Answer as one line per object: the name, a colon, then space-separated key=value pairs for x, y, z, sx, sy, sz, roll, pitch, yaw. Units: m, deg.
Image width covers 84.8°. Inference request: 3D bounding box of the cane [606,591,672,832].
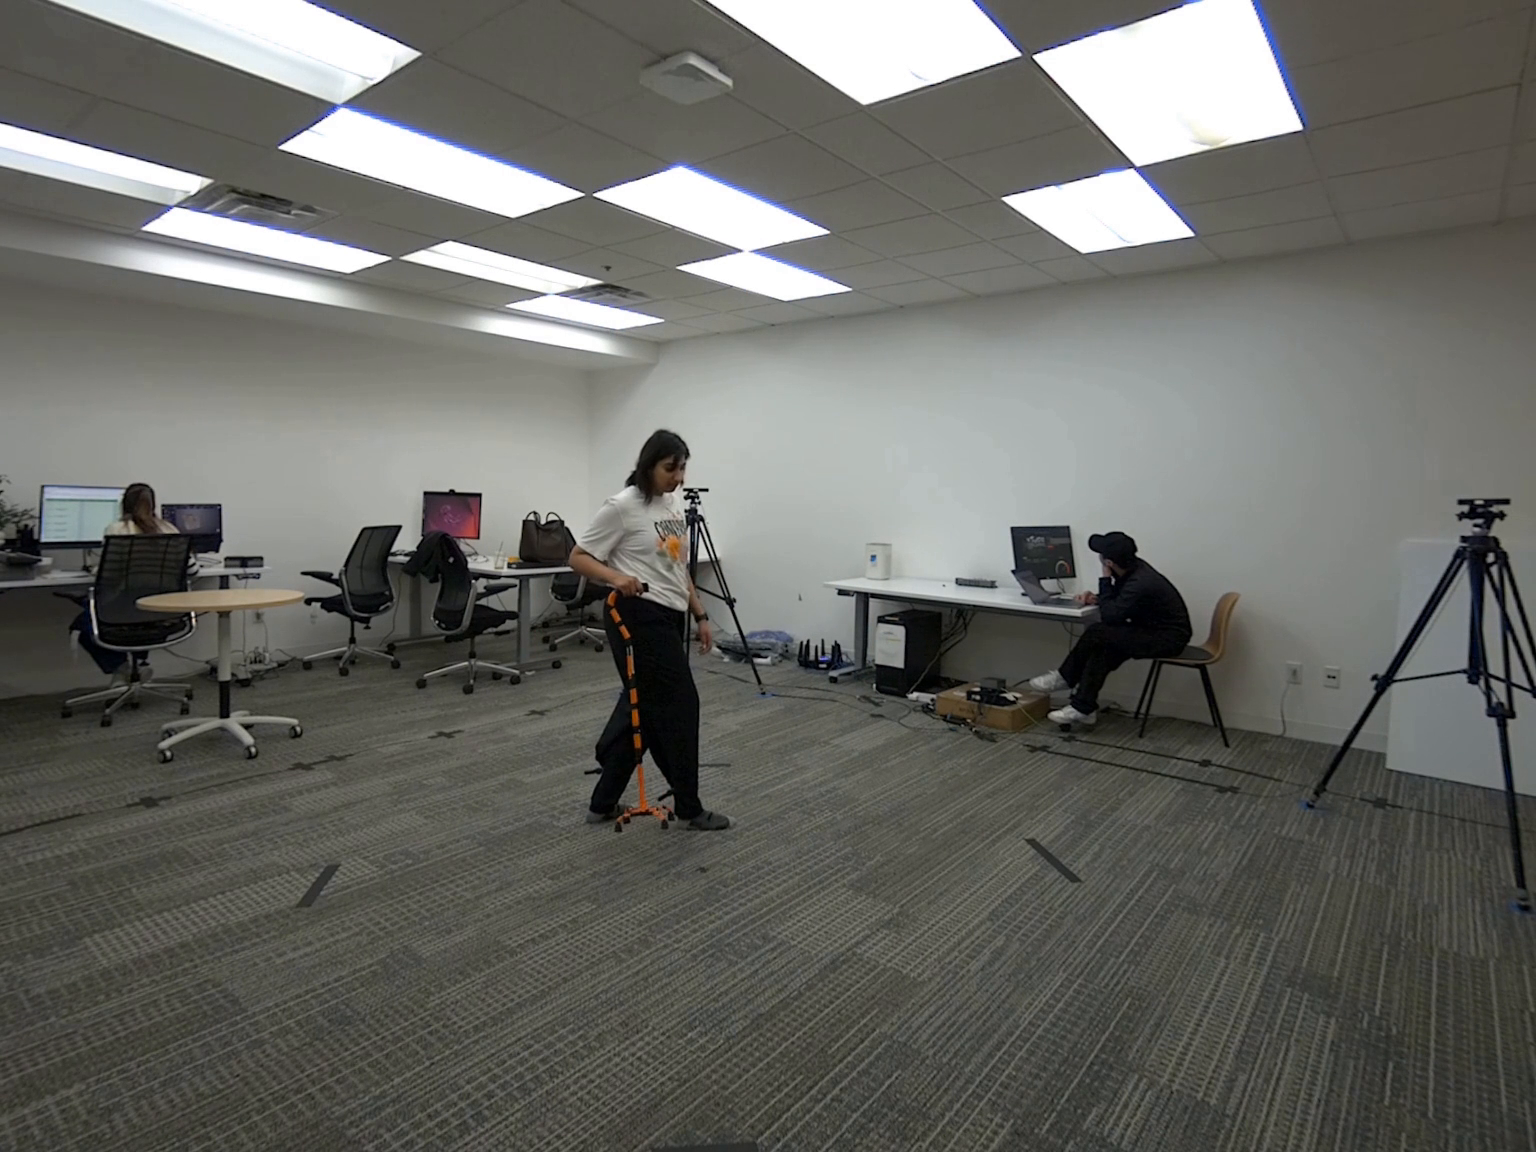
cane: x=-0.501 y=0.489 z=3.247 sx=0.208 sy=0.911 sz=0.150 roll=-7 pitch=-3 yaw=8
